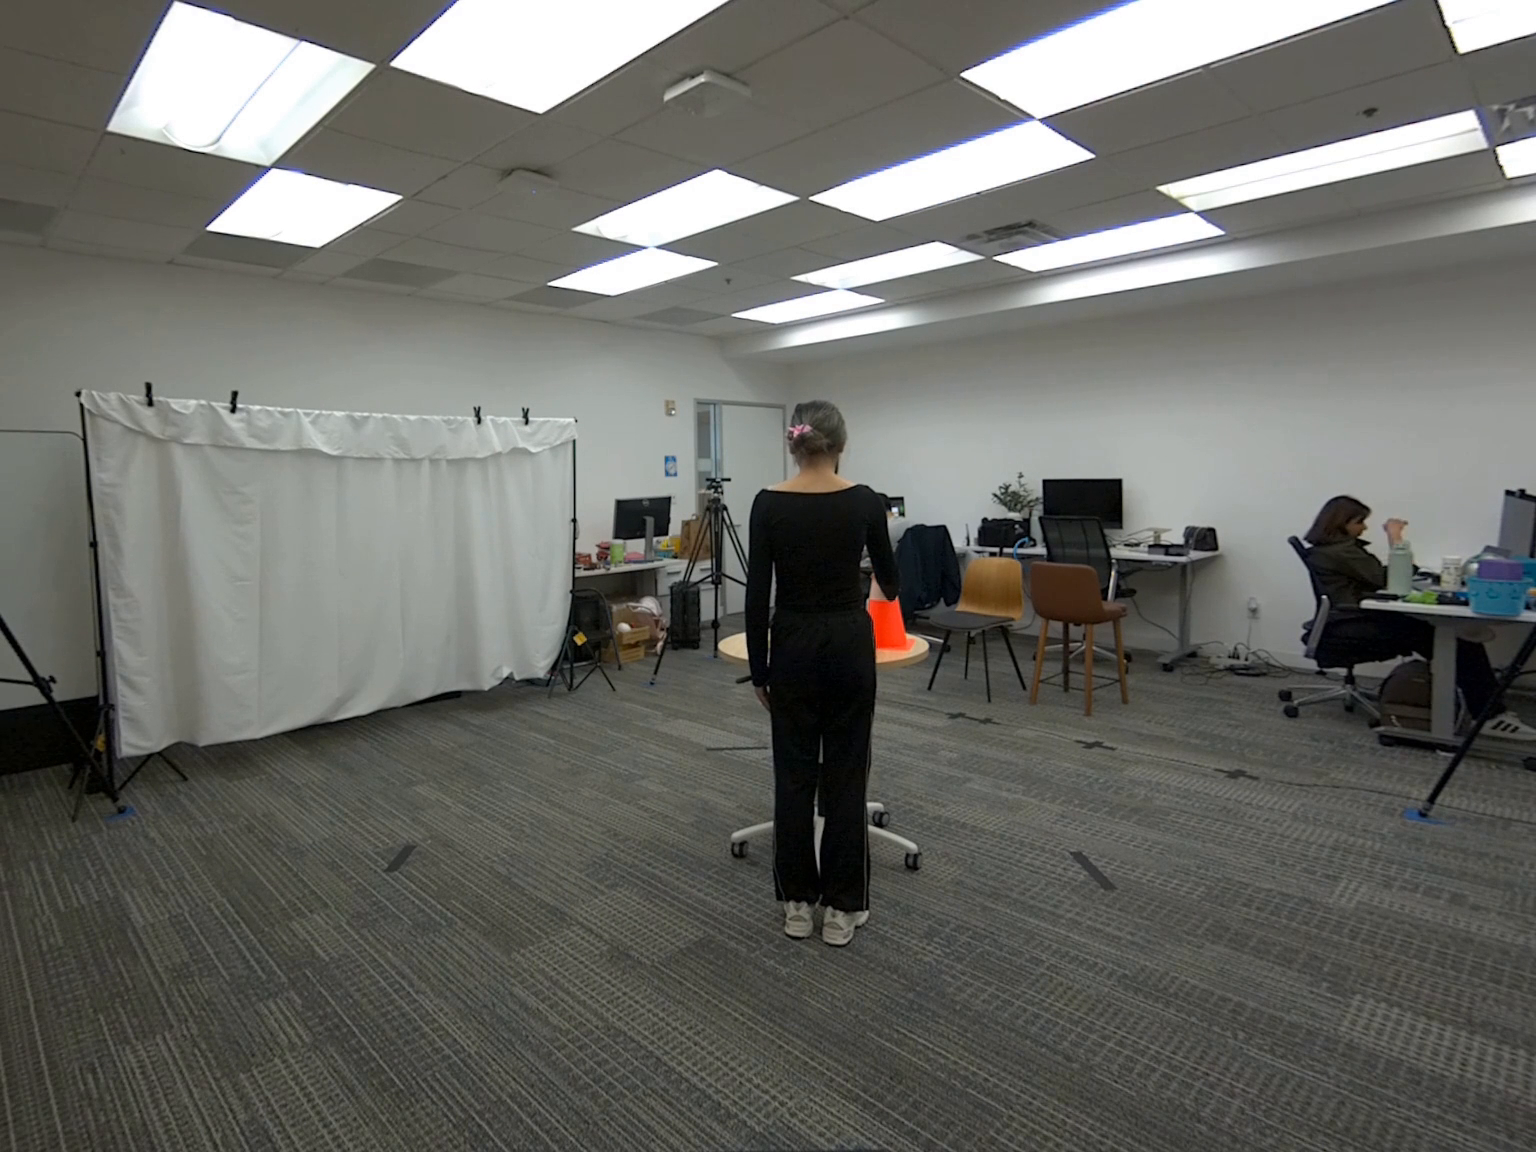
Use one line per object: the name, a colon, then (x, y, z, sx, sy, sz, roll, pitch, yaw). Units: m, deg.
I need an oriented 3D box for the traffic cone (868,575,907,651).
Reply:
traffic cone: (0.421, 0.063, 3.084, 0.208, 0.381, 0.202, 1, 7, 13)
